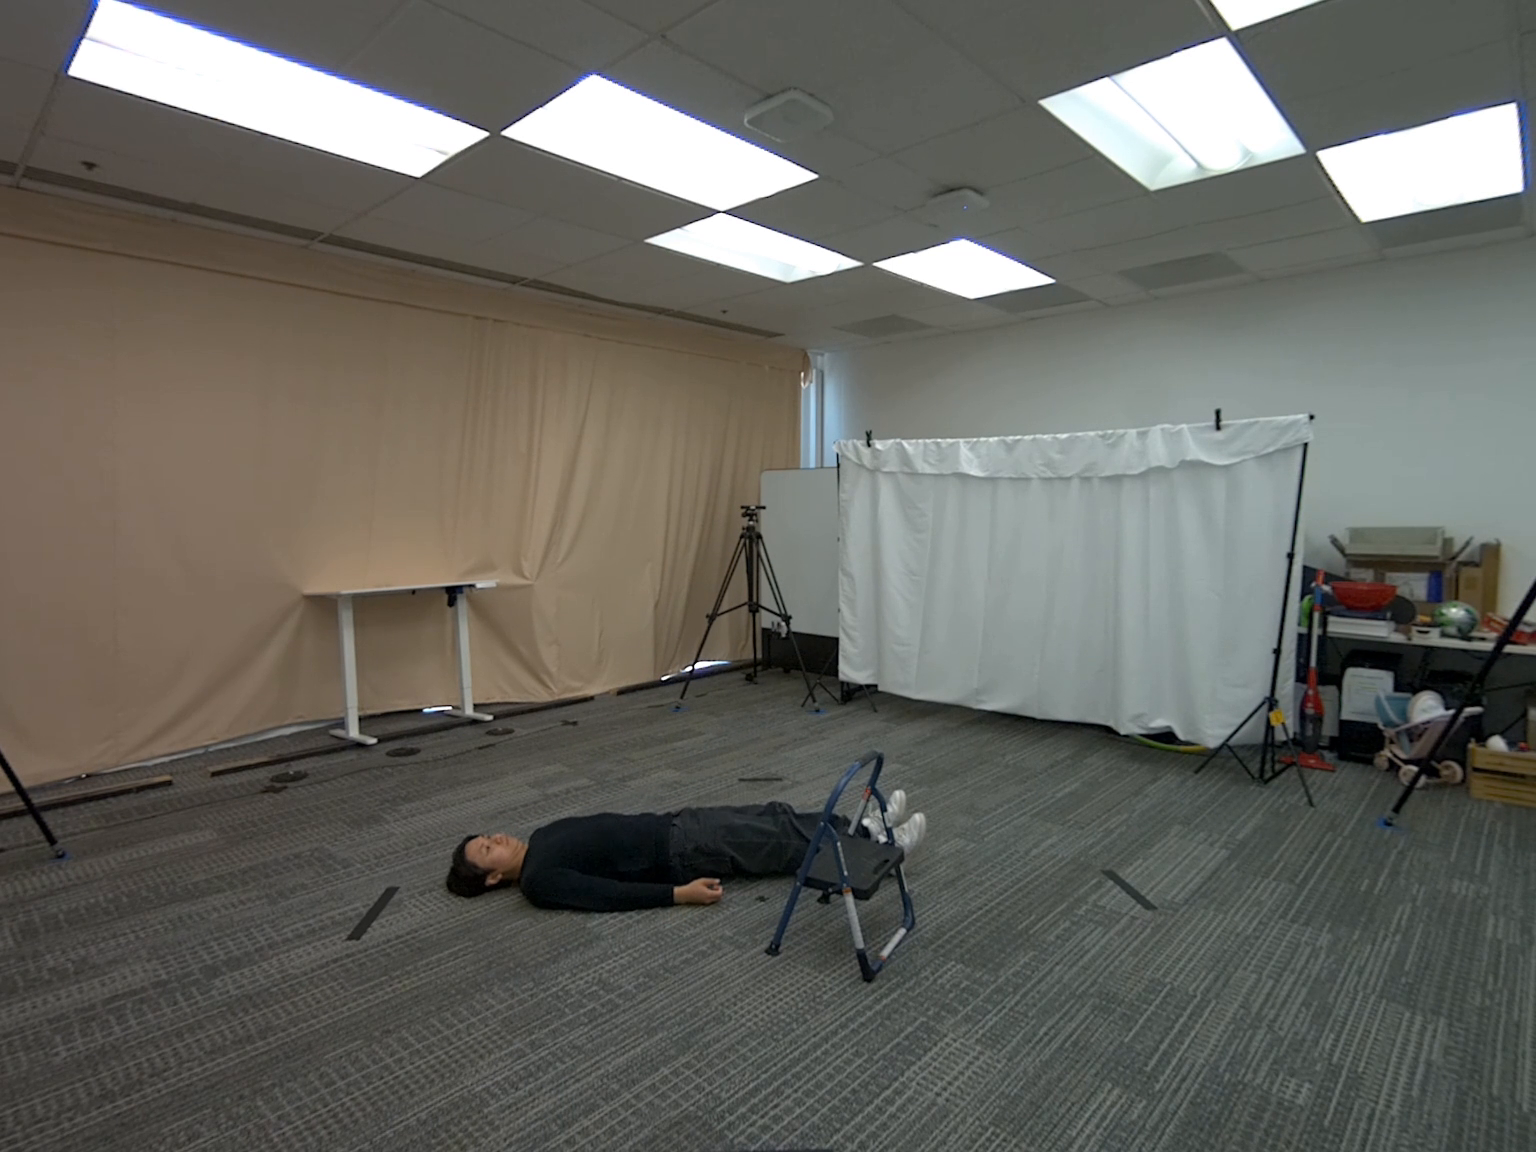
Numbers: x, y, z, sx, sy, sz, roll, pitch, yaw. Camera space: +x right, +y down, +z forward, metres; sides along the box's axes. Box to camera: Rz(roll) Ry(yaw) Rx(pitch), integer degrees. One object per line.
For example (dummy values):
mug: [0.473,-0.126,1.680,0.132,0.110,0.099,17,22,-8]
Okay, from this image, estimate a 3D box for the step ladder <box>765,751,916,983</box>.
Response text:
step ladder: [0.246,0.863,2.694,0.359,0.605,0.419,1,4,29]
